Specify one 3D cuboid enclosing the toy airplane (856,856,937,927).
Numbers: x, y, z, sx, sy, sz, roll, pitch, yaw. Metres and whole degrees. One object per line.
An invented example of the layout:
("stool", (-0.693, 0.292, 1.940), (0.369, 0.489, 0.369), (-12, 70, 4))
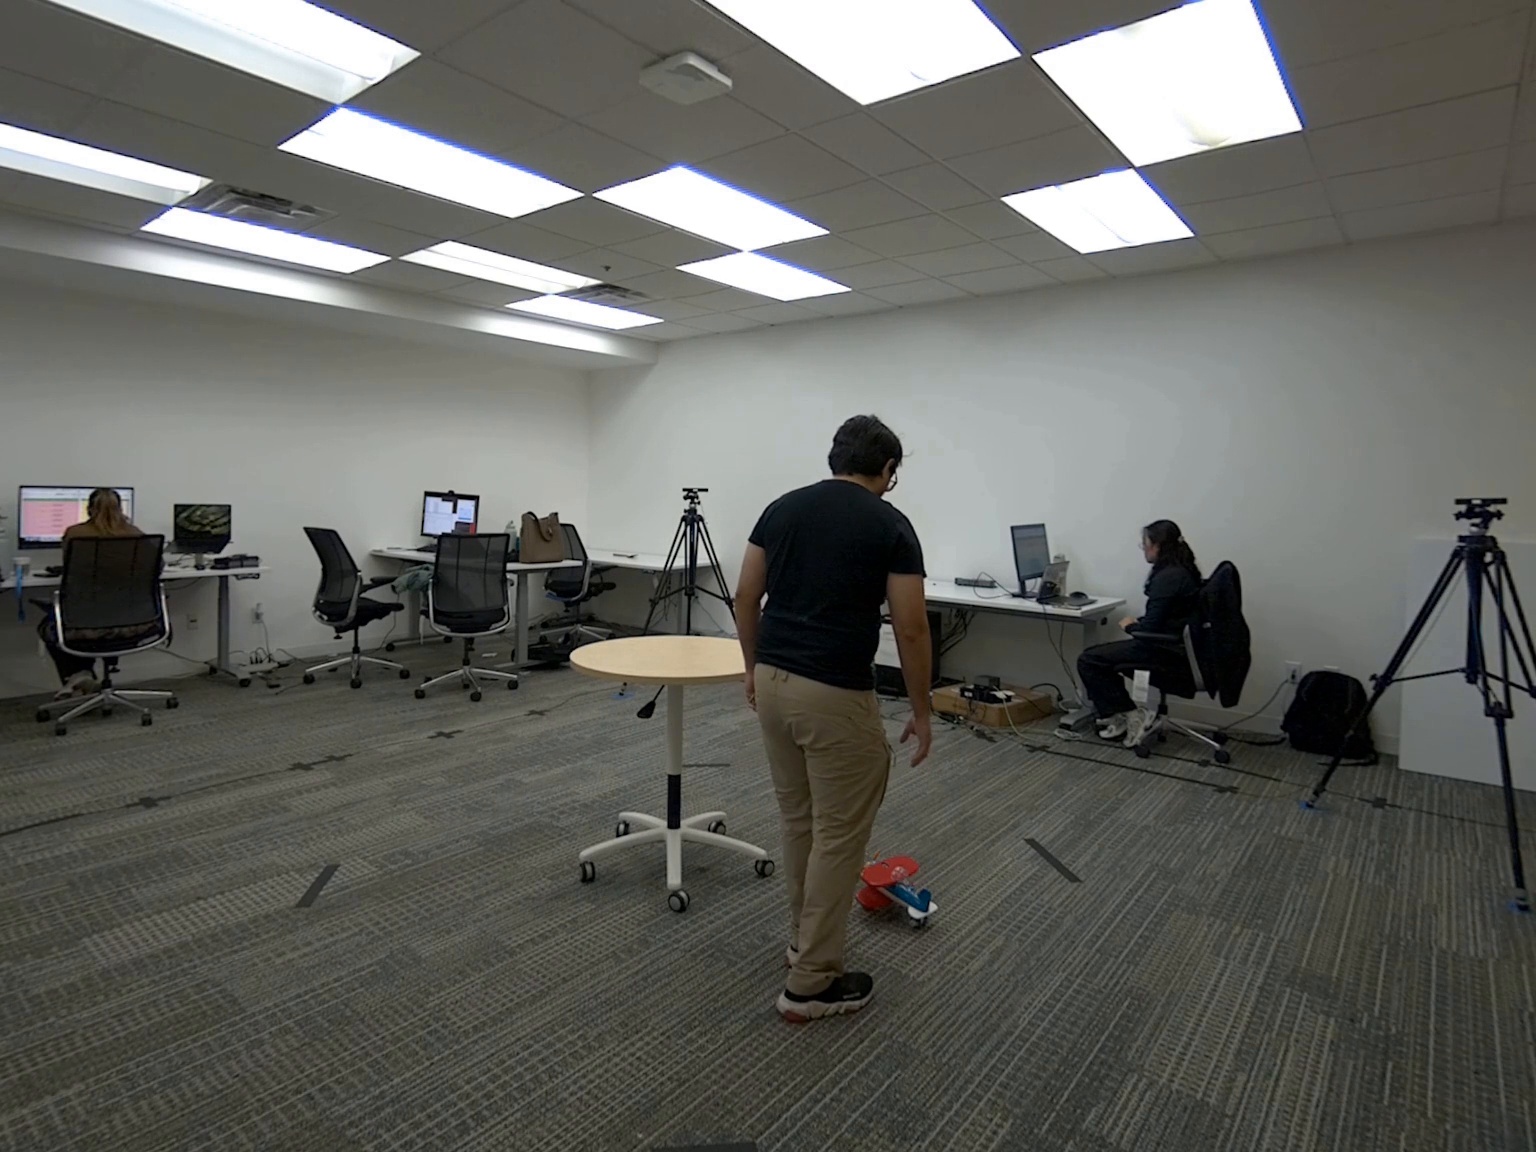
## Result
("toy airplane", (0.431, 1.036, 2.820), (0.265, 0.156, 0.246), (1, 4, 20))
